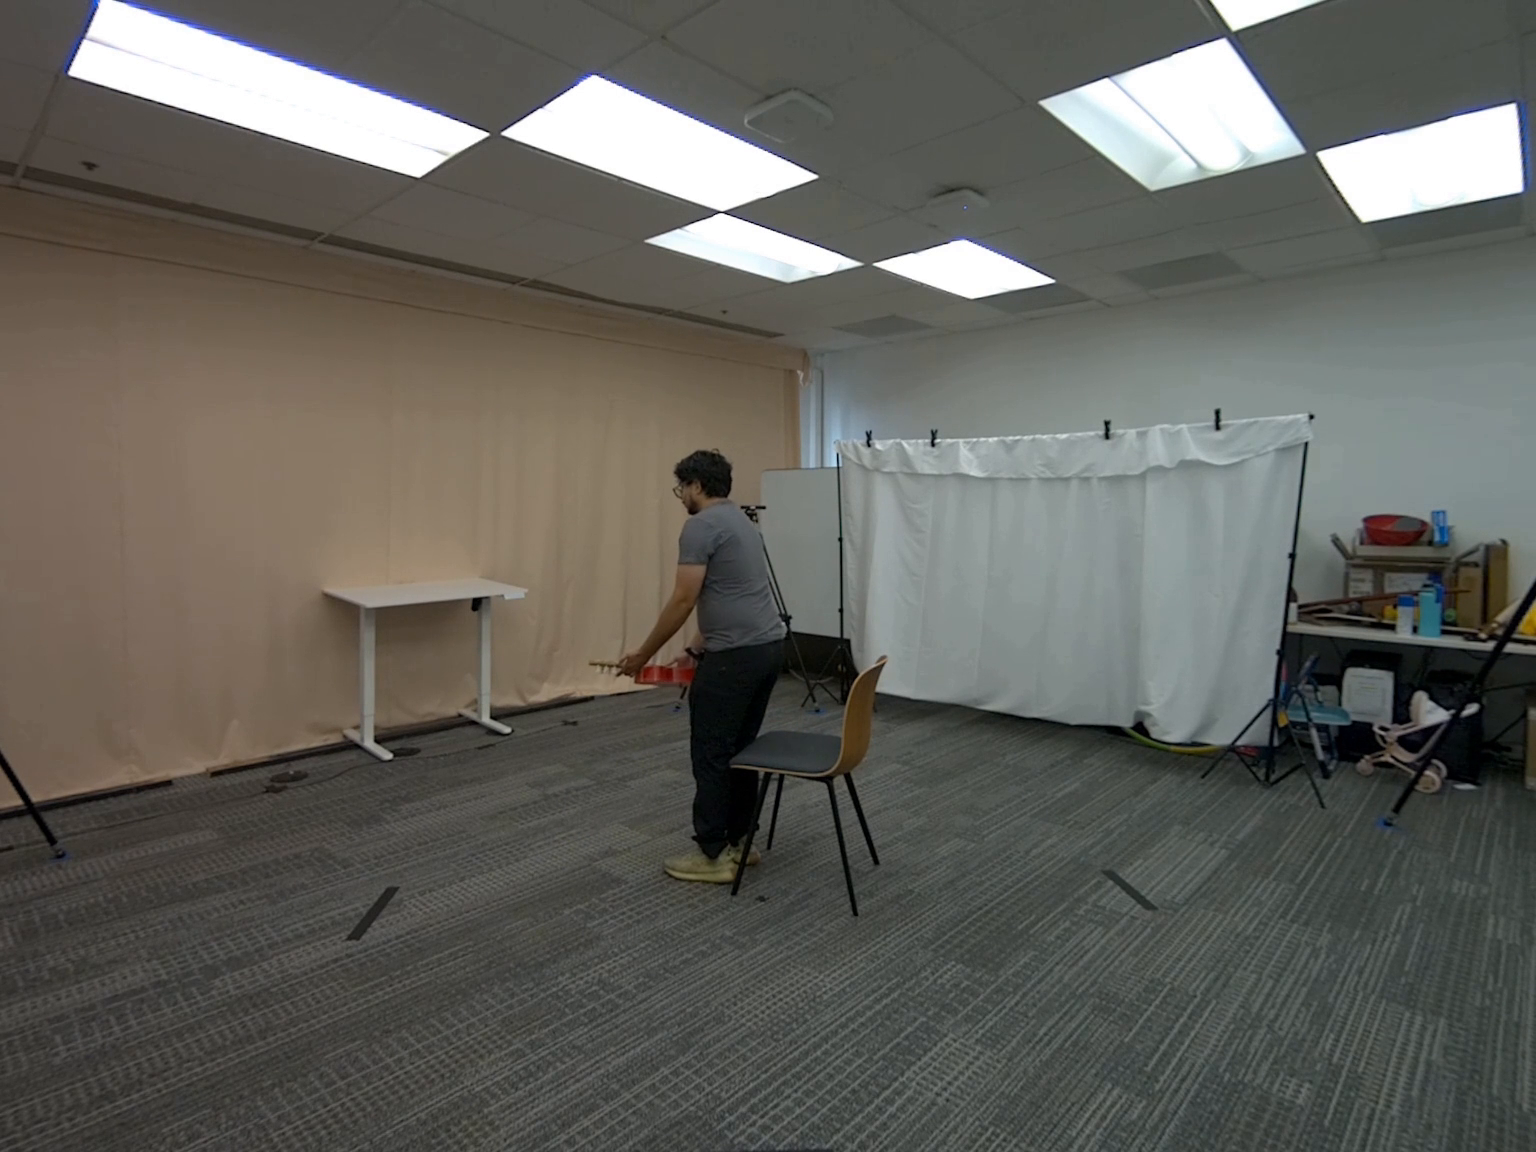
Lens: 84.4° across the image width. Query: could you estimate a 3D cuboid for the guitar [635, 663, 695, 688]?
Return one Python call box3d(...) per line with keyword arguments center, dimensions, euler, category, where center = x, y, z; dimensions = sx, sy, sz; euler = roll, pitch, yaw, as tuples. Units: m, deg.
box3d(center=(-0.506, 0.394, 3.340), dimensions=(0.483, 0.071, 0.197), euler=(9, -17, -31), category="guitar")
